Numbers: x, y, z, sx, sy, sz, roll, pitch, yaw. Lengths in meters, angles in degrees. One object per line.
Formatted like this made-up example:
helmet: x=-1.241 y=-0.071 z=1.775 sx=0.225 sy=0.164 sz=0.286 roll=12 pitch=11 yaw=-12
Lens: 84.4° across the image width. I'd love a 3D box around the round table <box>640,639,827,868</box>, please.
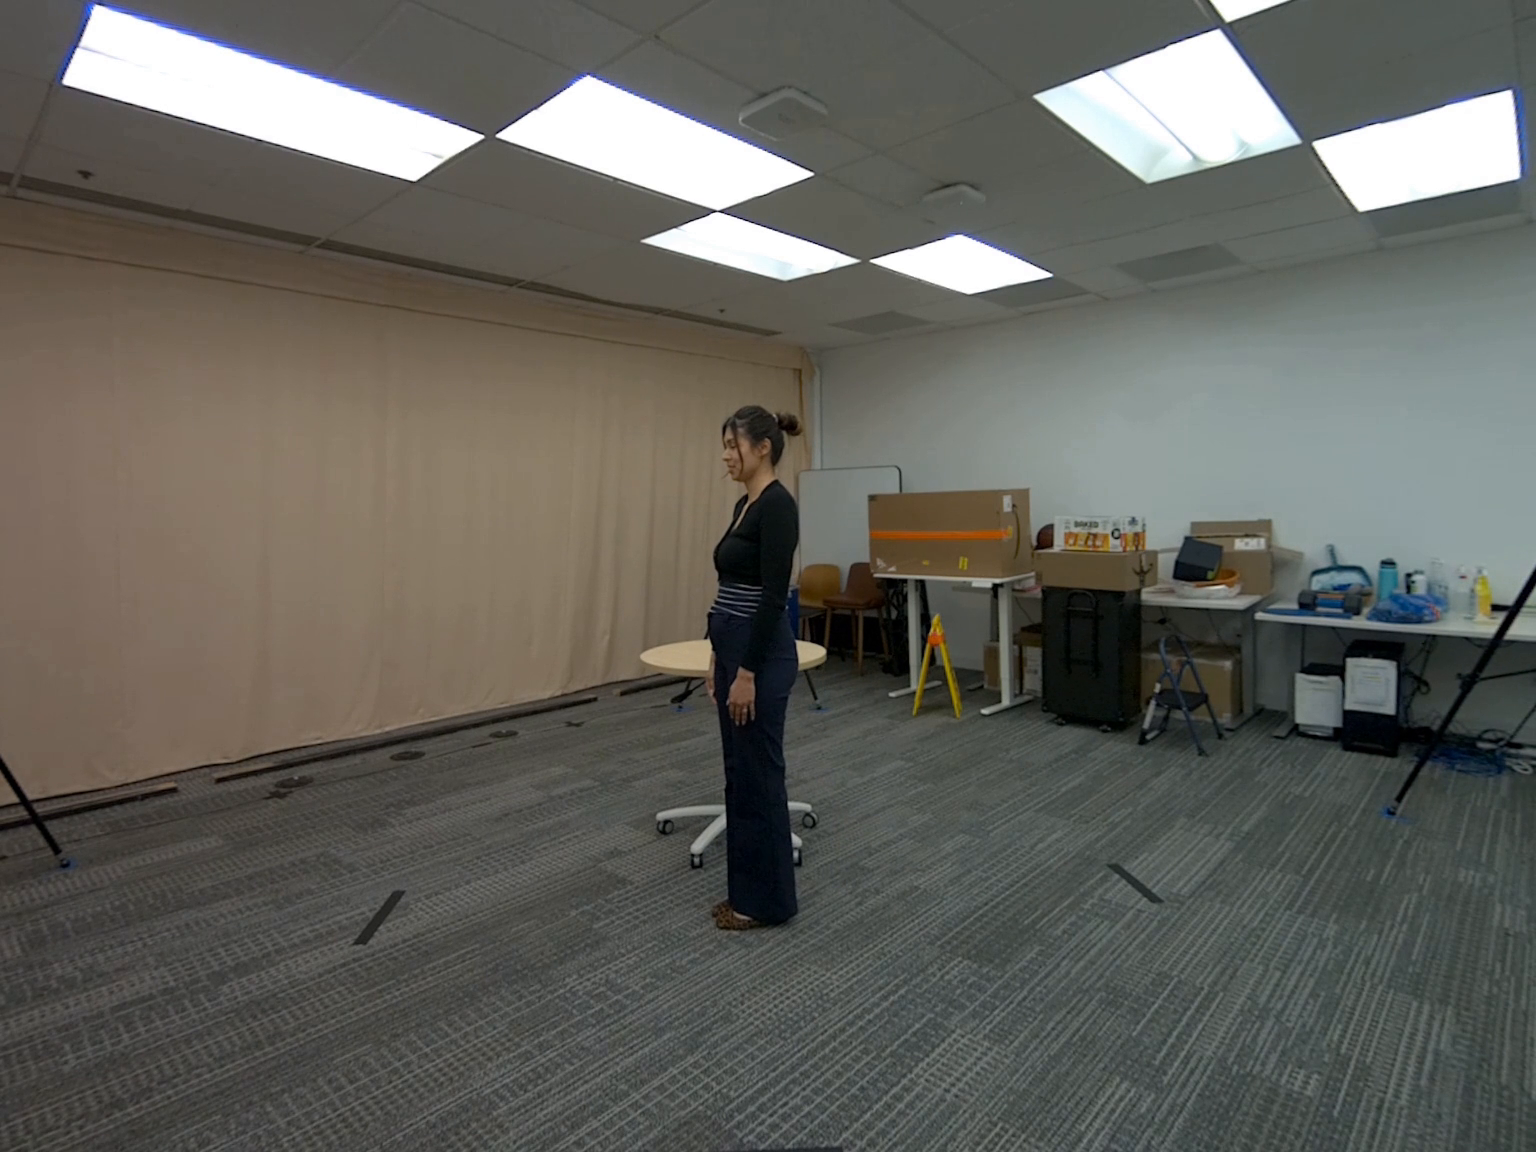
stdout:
round table: x=-0.128 y=0.709 z=3.492 sx=0.763 sy=0.792 sz=0.766 roll=-2 pitch=3 yaw=-2
